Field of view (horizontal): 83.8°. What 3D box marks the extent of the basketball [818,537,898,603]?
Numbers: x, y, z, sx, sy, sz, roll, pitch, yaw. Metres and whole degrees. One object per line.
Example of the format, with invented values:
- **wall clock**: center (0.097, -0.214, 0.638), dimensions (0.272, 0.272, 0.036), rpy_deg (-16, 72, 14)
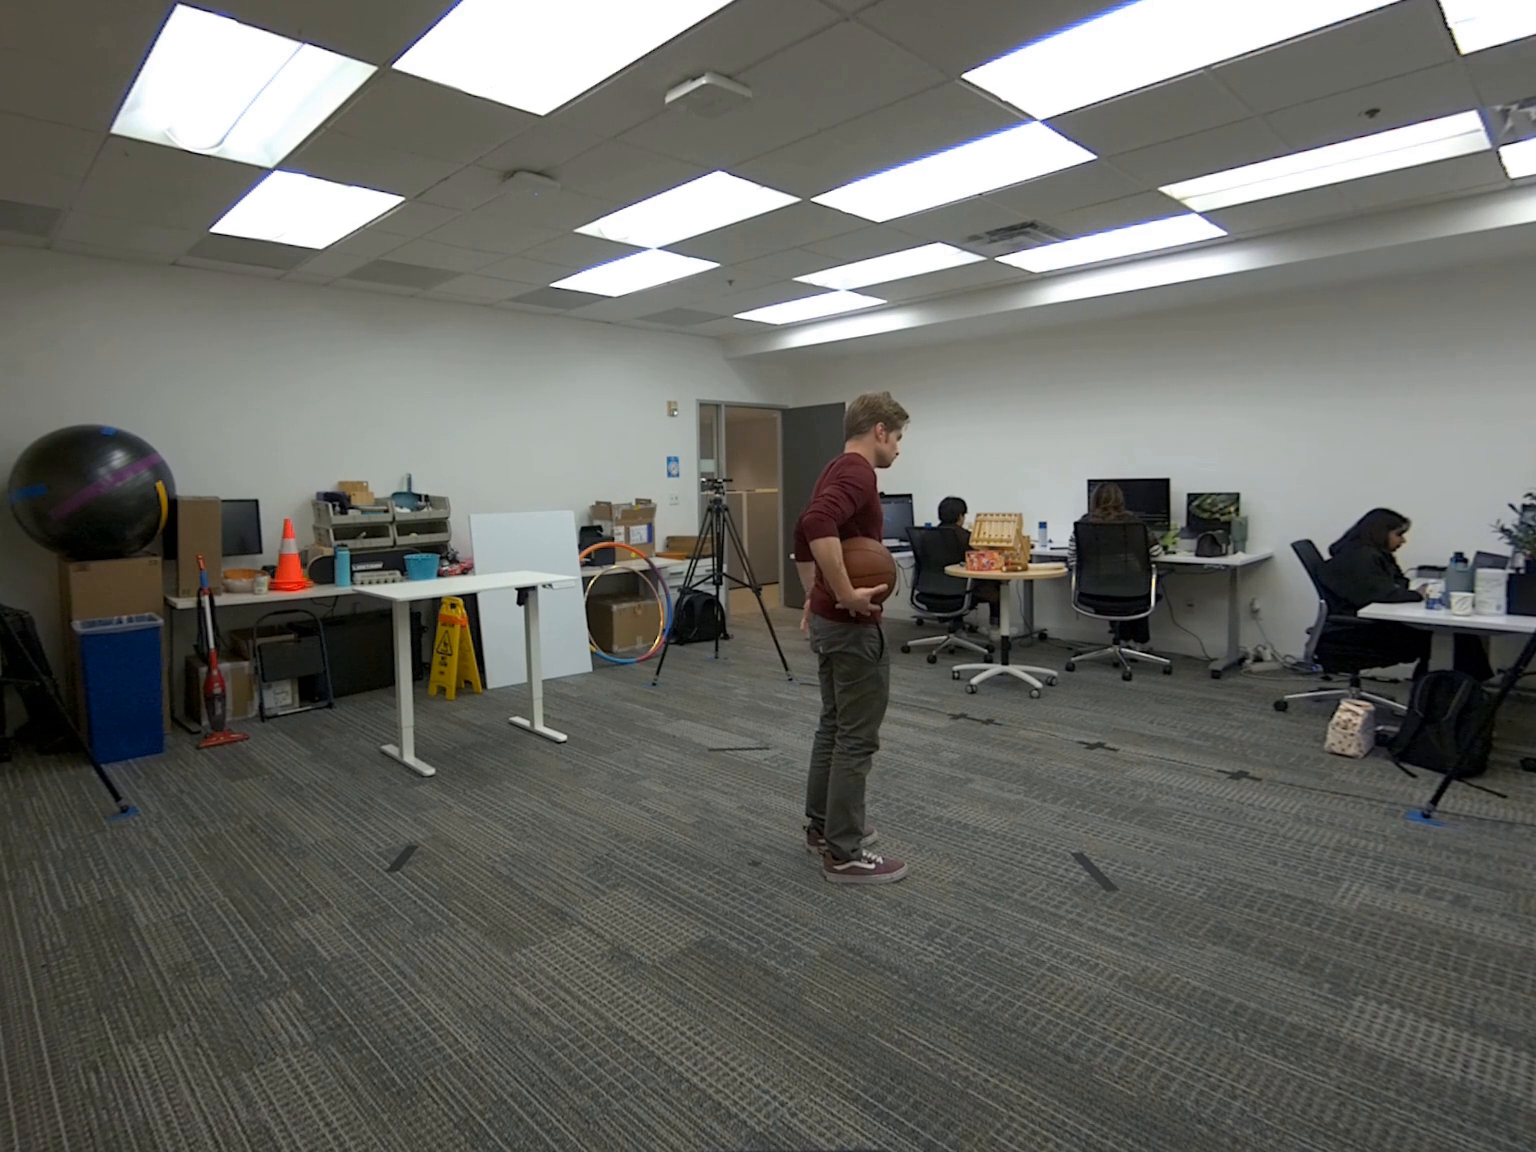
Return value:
- **basketball**: center (0.307, -0.008, 2.807), dimensions (0.236, 0.235, 0.237), rpy_deg (-1, 5, -2)
